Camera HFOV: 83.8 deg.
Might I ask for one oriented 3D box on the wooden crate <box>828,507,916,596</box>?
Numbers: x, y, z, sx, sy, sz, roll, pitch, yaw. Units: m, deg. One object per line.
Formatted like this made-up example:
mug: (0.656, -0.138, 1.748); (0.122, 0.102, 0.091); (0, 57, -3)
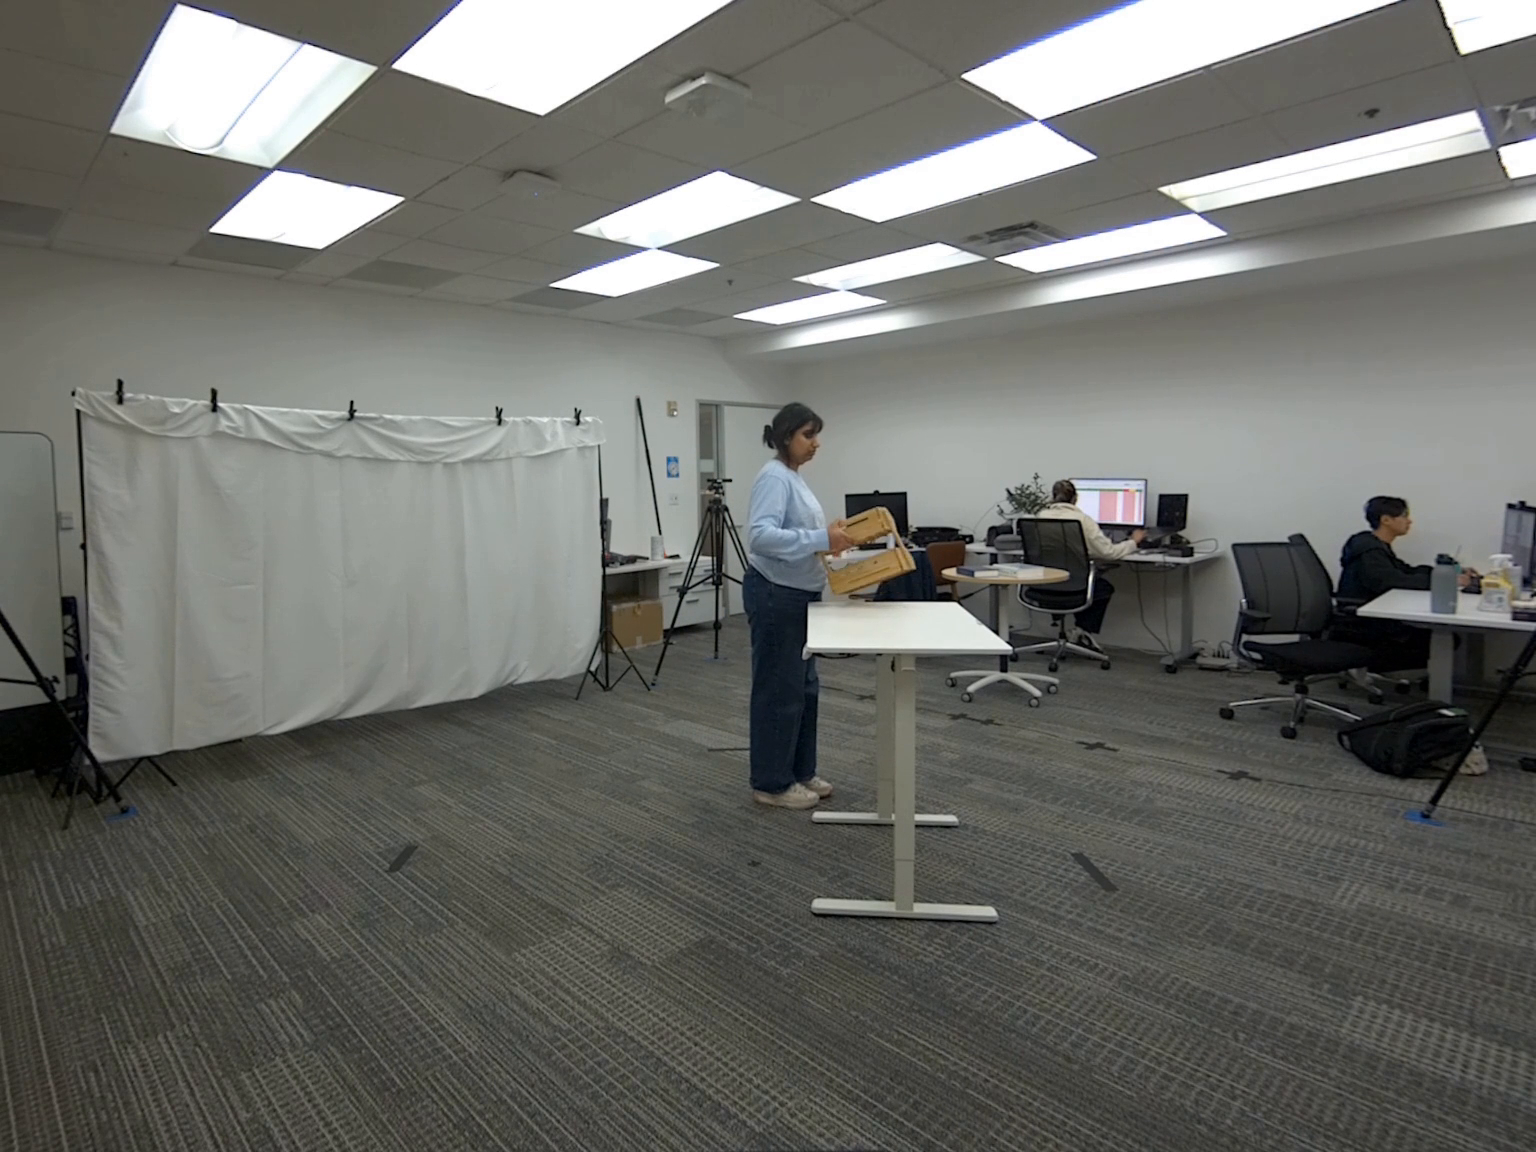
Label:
wooden crate: (0.390, -0.098, 3.461); (0.328, 0.276, 0.295); (-22, -9, 21)
